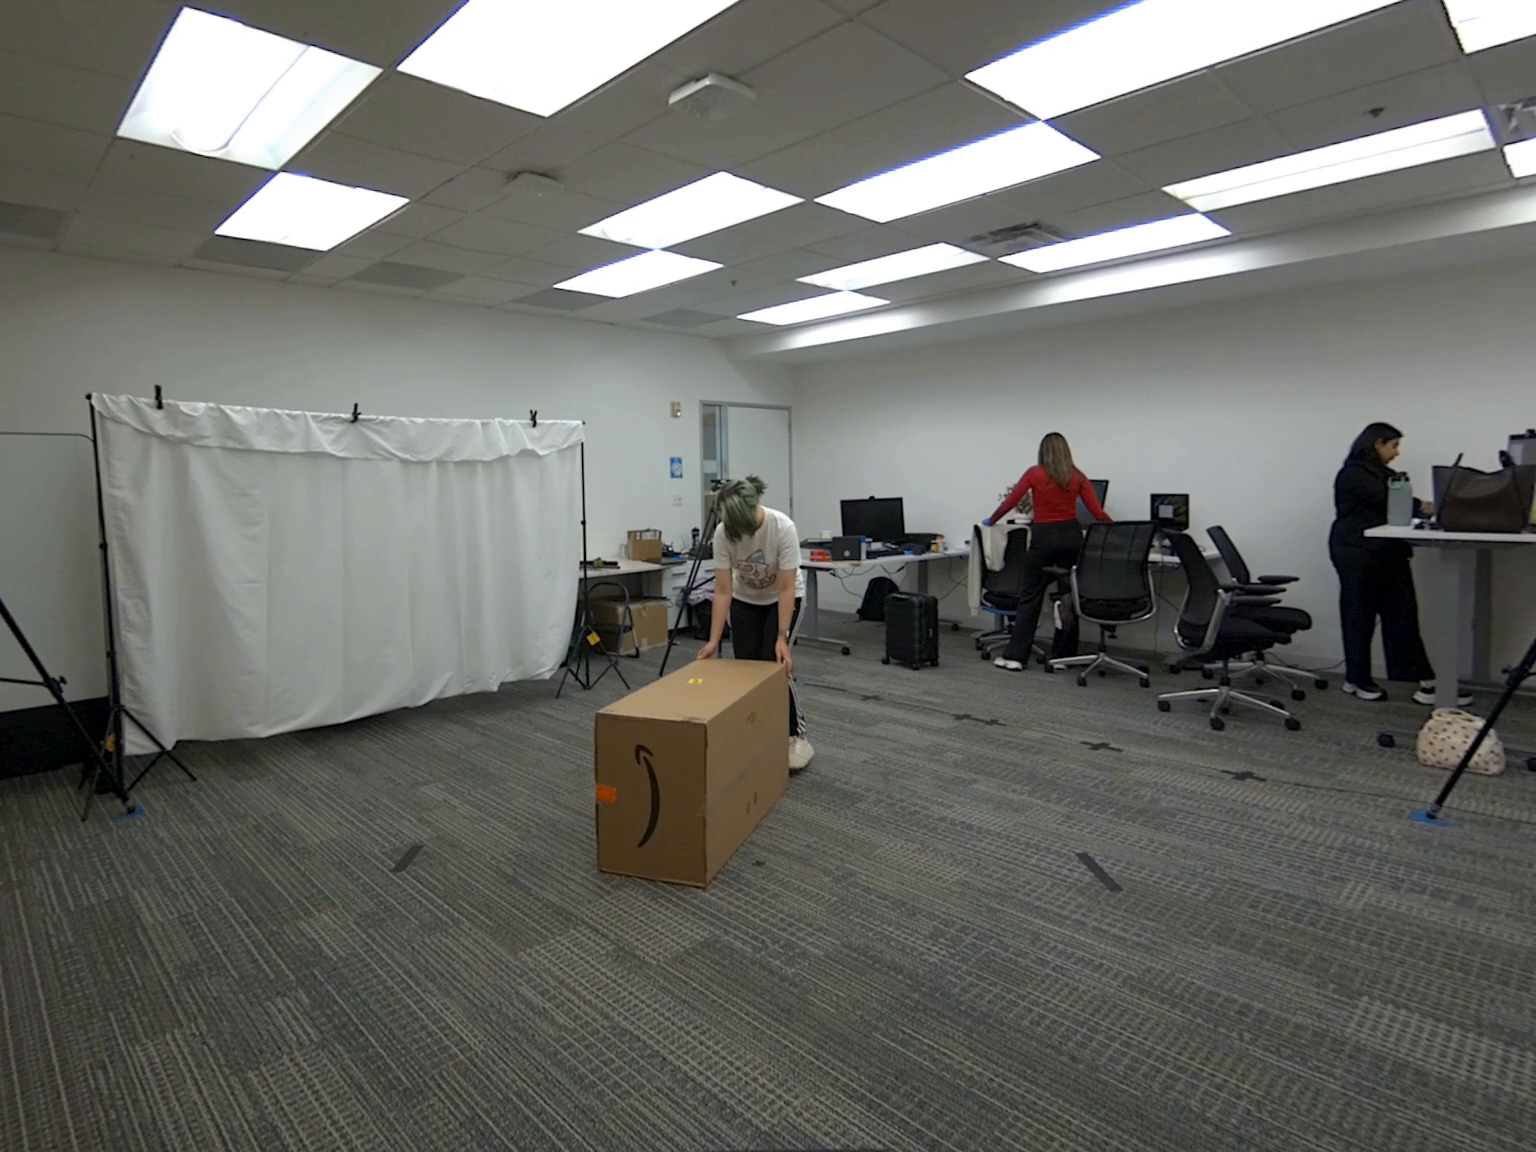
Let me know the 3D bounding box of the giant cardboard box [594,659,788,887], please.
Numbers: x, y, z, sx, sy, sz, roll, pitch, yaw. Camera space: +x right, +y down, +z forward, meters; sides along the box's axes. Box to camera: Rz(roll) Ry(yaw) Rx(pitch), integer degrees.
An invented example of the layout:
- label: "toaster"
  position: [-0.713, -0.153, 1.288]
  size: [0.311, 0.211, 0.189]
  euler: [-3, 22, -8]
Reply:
- label: "giant cardboard box"
  position: [-0.263, 0.724, 3.460]
  size: [0.455, 0.582, 1.012]
  euler: [0, 5, 18]
